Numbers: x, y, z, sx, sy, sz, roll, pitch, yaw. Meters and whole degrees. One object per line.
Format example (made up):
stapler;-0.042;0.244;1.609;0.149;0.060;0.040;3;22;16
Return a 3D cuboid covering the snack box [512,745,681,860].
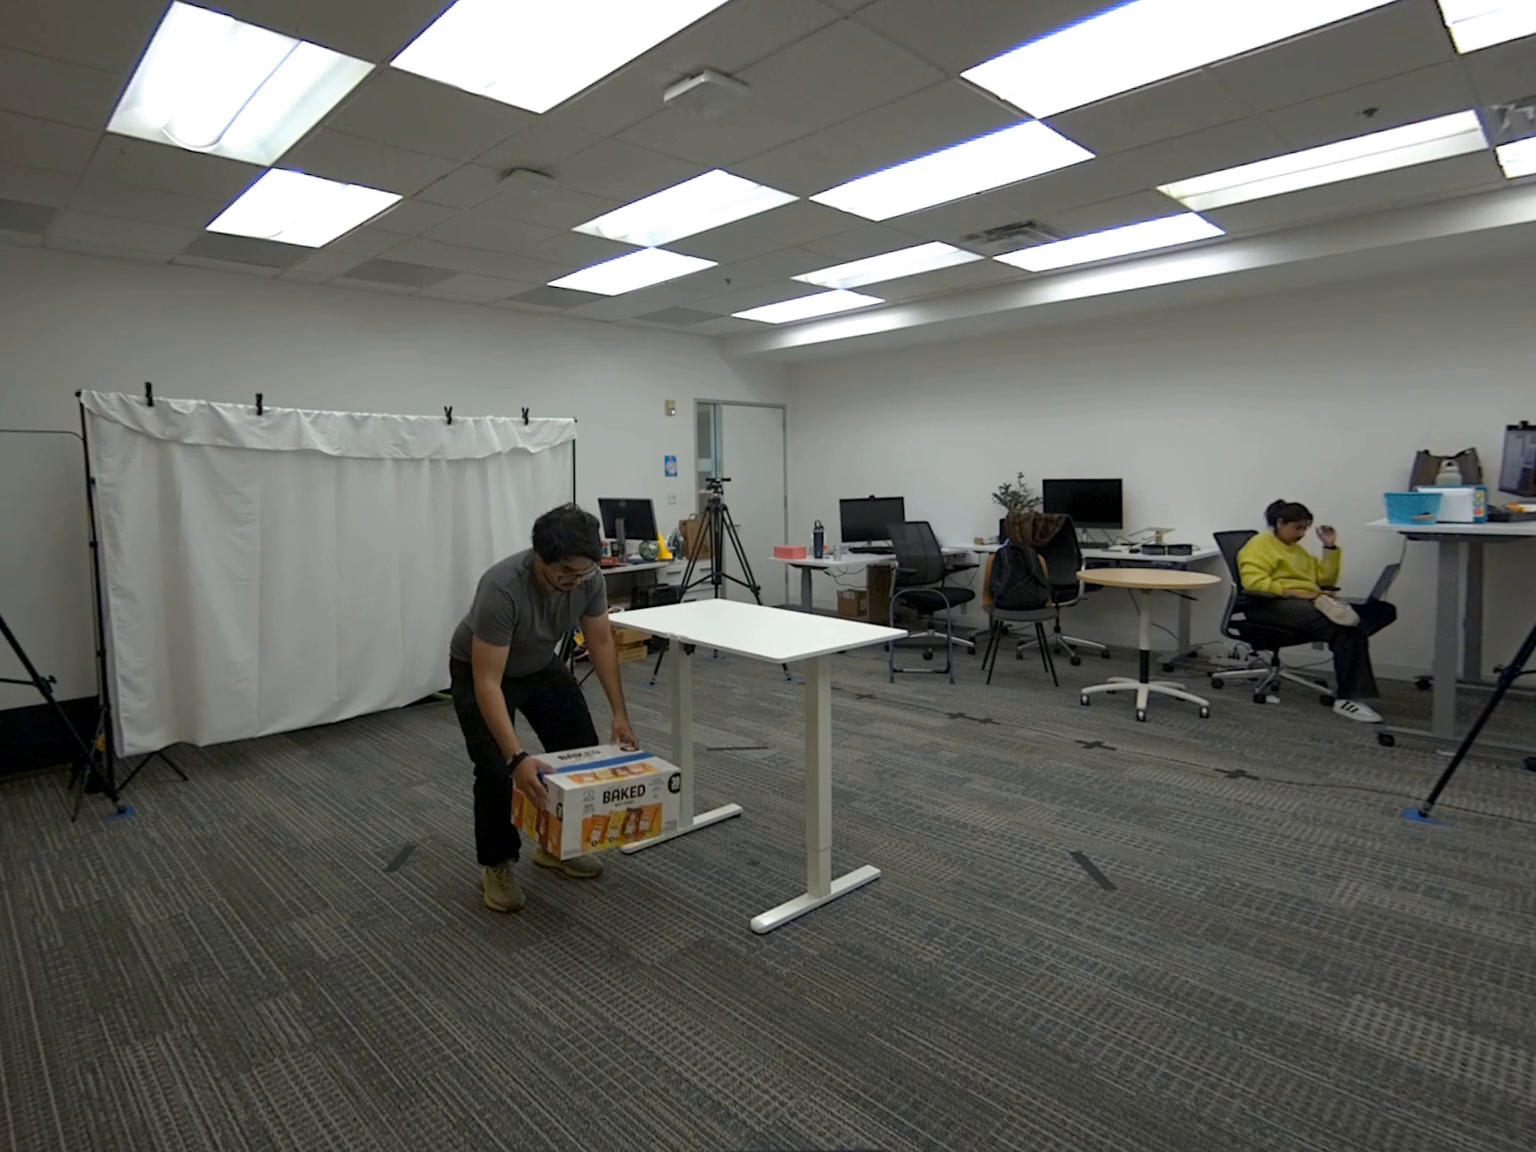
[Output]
snack box;-0.535;0.682;2.646;0.393;0.205;0.351;0;5;-39
